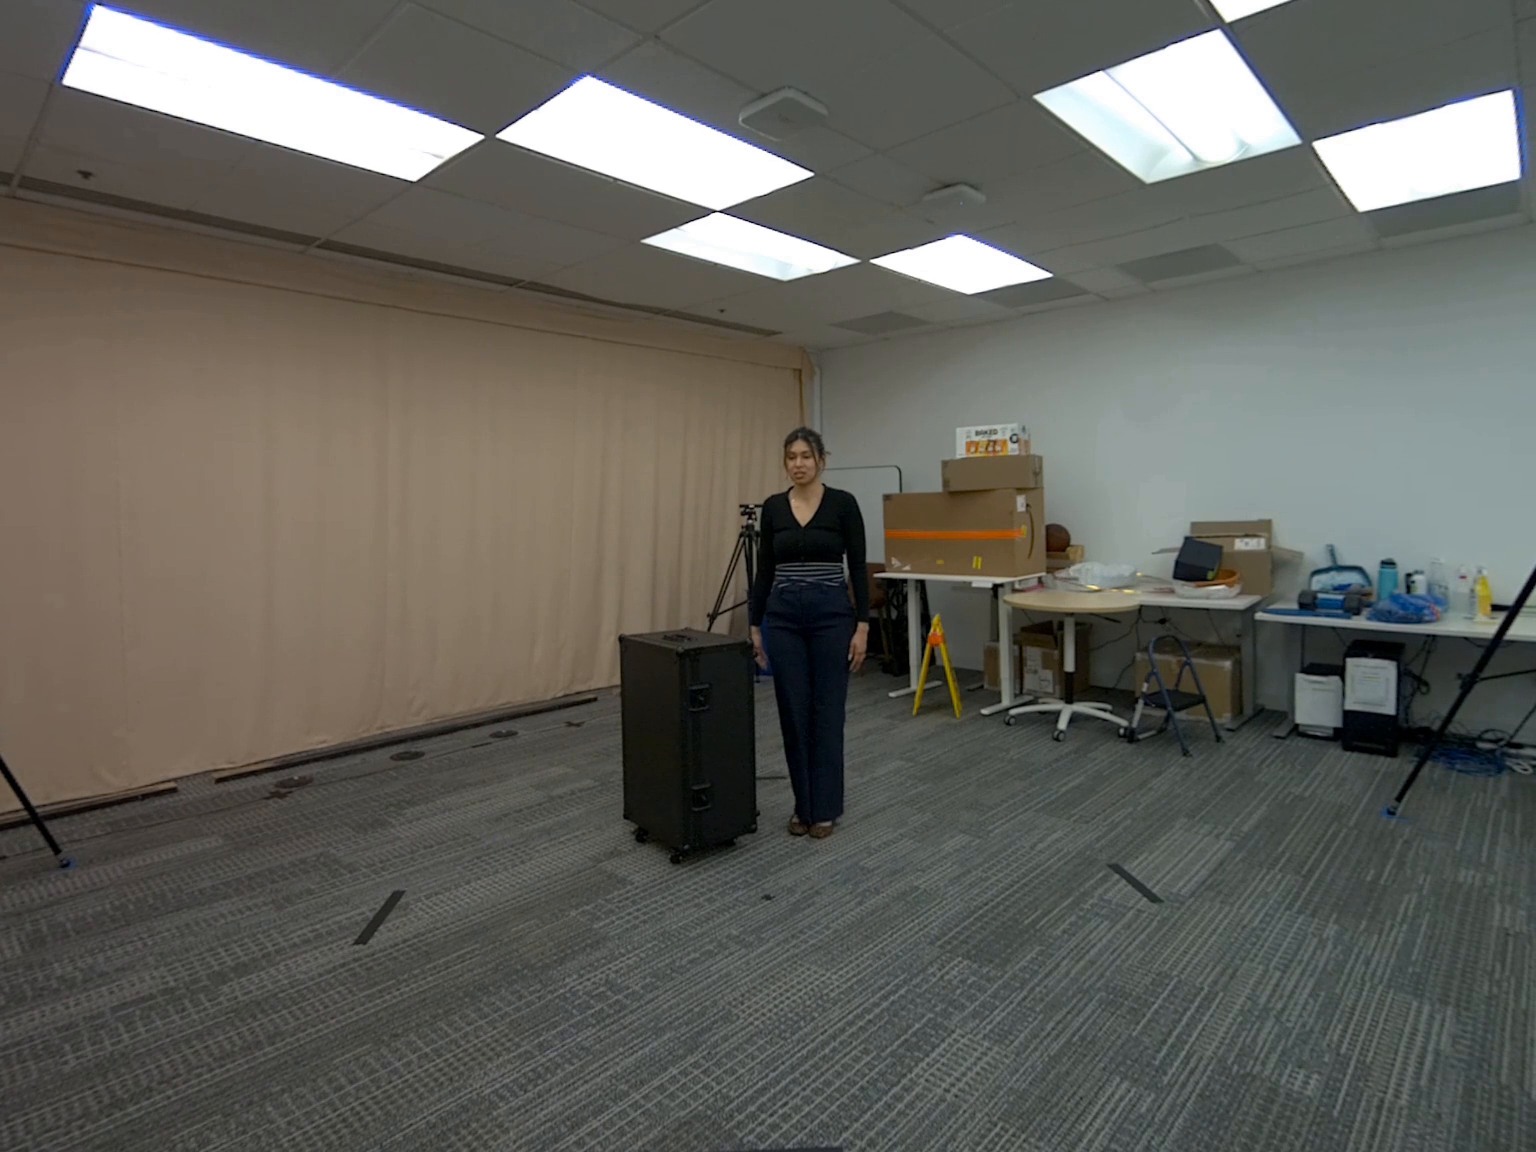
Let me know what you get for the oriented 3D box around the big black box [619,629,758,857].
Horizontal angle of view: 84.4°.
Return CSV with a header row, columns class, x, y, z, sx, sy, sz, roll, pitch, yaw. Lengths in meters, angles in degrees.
class,x,y,z,sx,sy,sz,roll,pitch,yaw
big black box,-0.332,0.677,3.490,0.384,0.860,0.537,-2,3,-36
